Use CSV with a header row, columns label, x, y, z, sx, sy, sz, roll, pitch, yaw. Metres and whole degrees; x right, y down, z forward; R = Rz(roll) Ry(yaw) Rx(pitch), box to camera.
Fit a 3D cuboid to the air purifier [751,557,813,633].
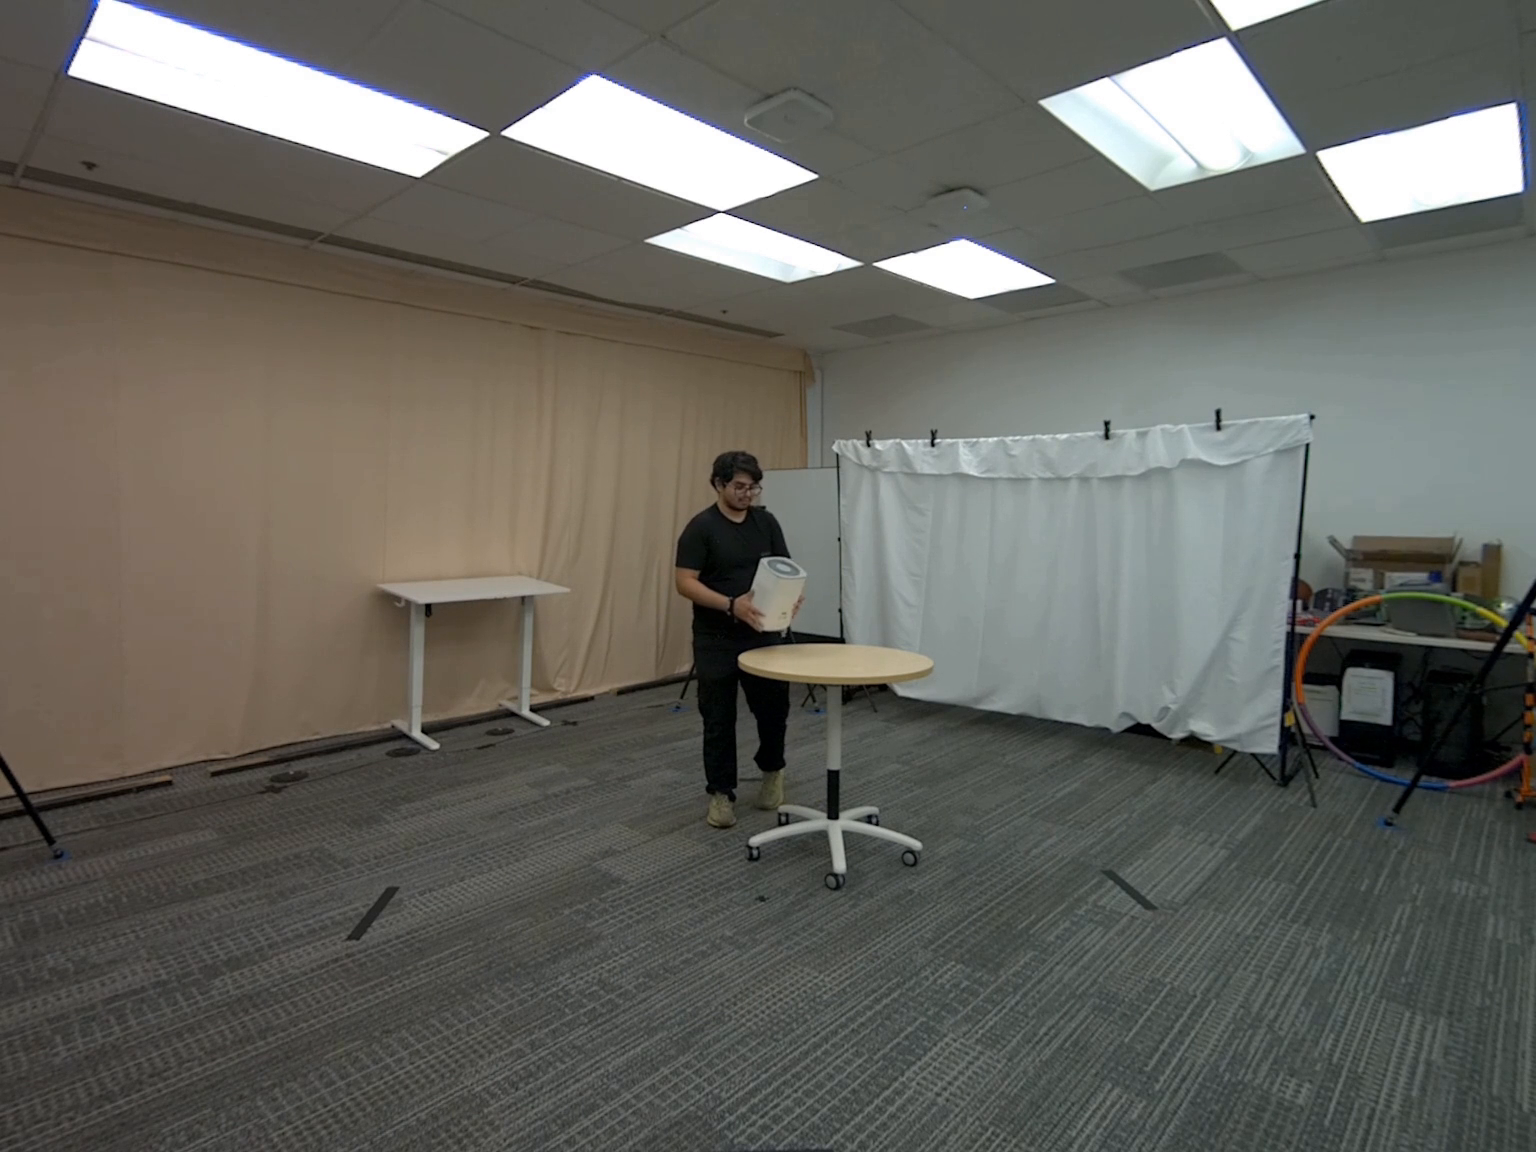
label,x,y,z,sx,sy,sz,roll,pitch,yaw
air purifier,0.026,0.072,3.487,0.163,0.260,0.180,-4,32,-38
